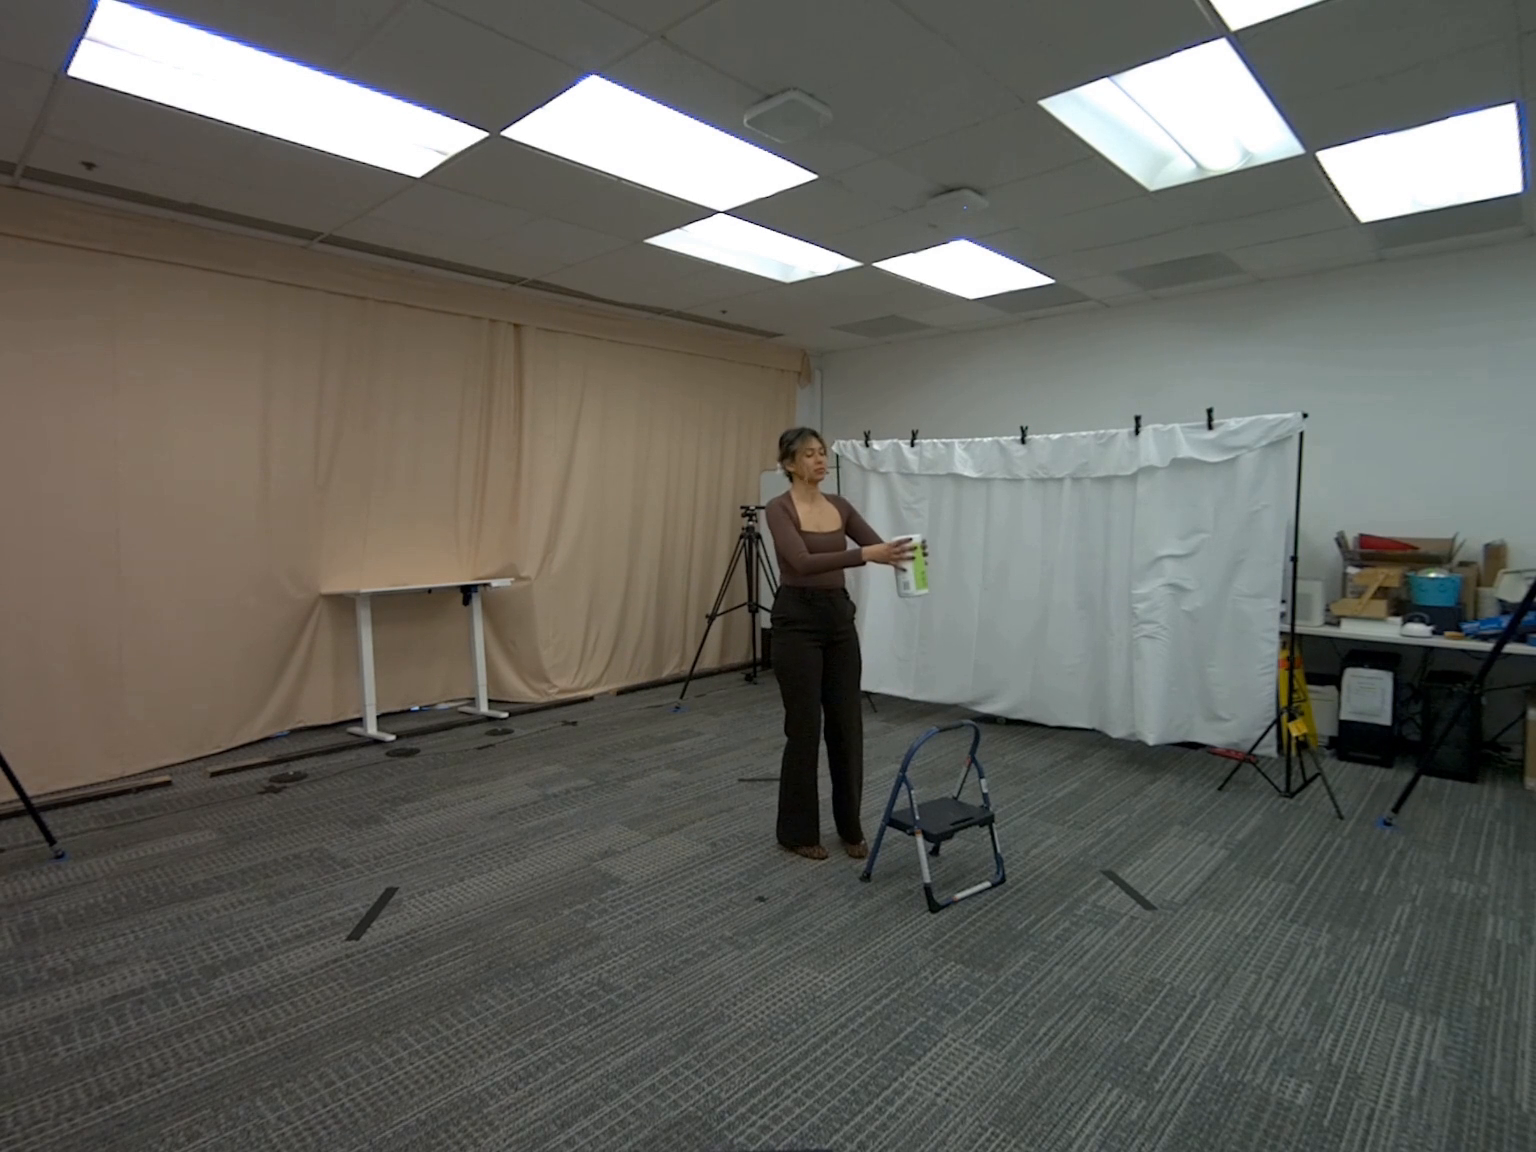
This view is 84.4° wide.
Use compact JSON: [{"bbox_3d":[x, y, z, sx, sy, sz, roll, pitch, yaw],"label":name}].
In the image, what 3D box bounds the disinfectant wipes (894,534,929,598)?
[{"bbox_3d":[0.494,-0.027,3.008,0.118,0.217,0.118,-6,2,-2],"label":"disinfectant wipes"}]
